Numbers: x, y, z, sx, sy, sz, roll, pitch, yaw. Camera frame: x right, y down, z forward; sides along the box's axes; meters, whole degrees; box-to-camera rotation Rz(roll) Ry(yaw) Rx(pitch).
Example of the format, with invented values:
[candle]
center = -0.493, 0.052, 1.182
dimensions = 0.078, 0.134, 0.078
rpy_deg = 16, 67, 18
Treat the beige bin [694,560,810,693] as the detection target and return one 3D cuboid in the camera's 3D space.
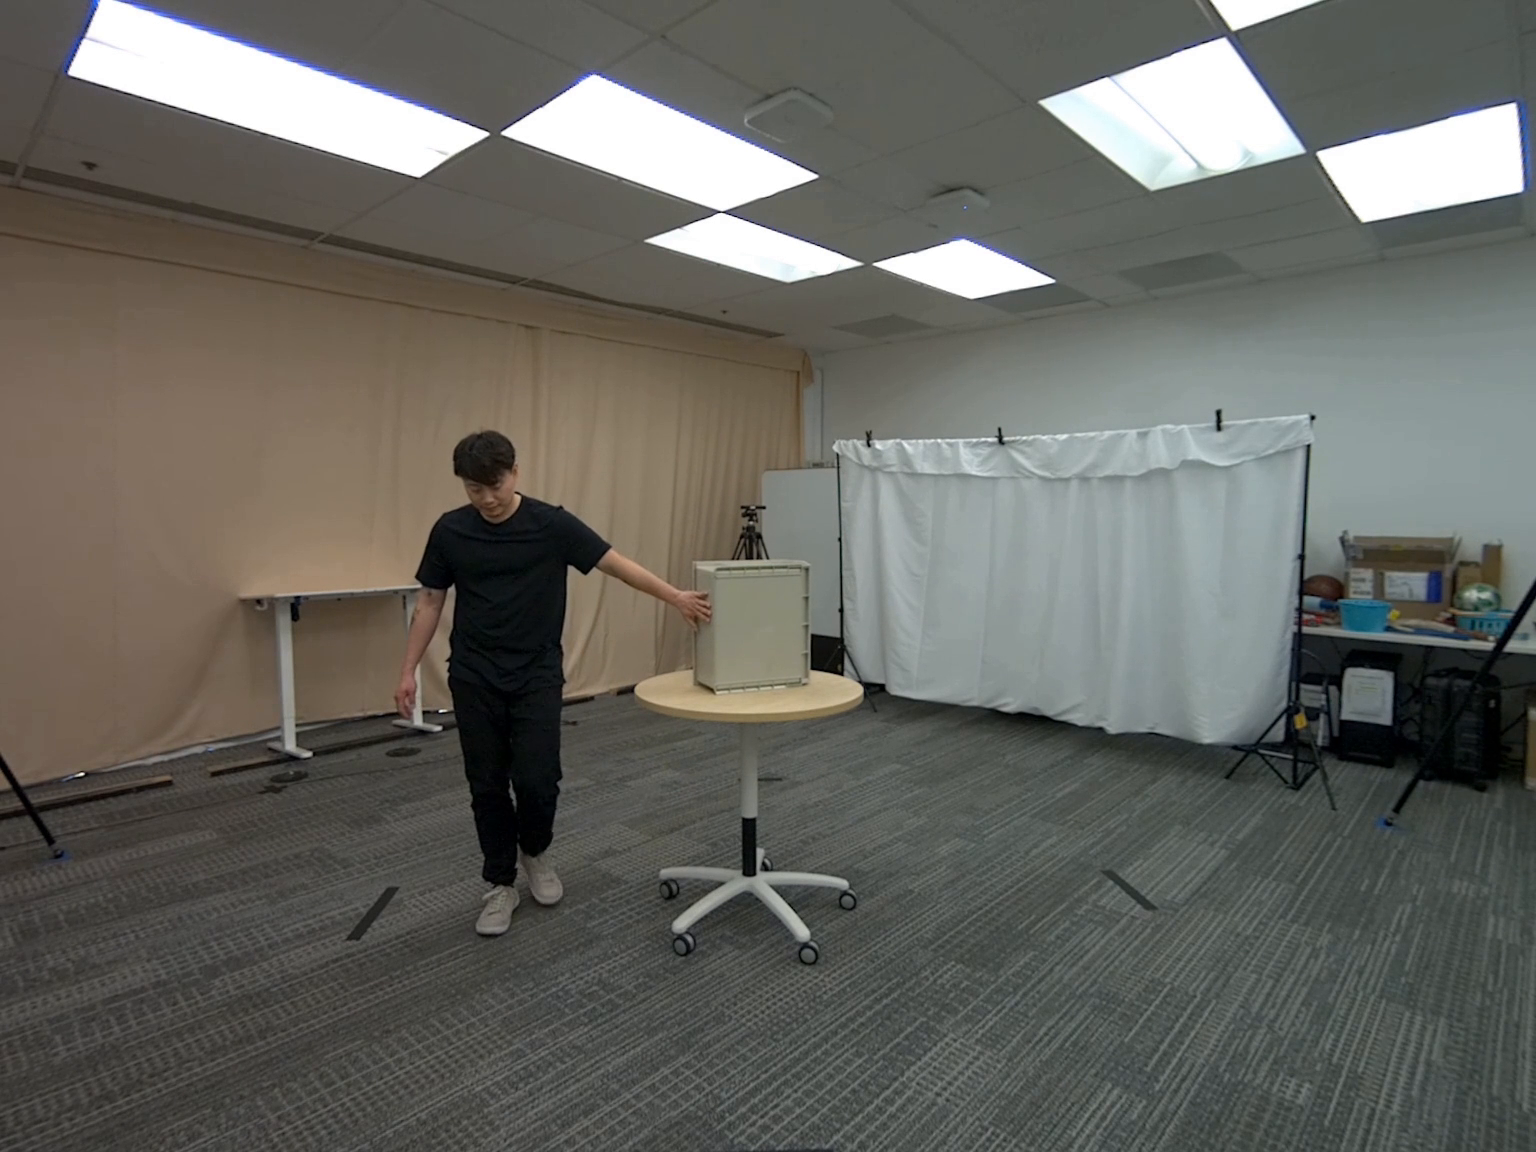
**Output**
[beige bin]
center = -0.044, 0.164, 2.841
dimensions = 0.368, 0.421, 0.194
rpy_deg = 0, 4, -25
